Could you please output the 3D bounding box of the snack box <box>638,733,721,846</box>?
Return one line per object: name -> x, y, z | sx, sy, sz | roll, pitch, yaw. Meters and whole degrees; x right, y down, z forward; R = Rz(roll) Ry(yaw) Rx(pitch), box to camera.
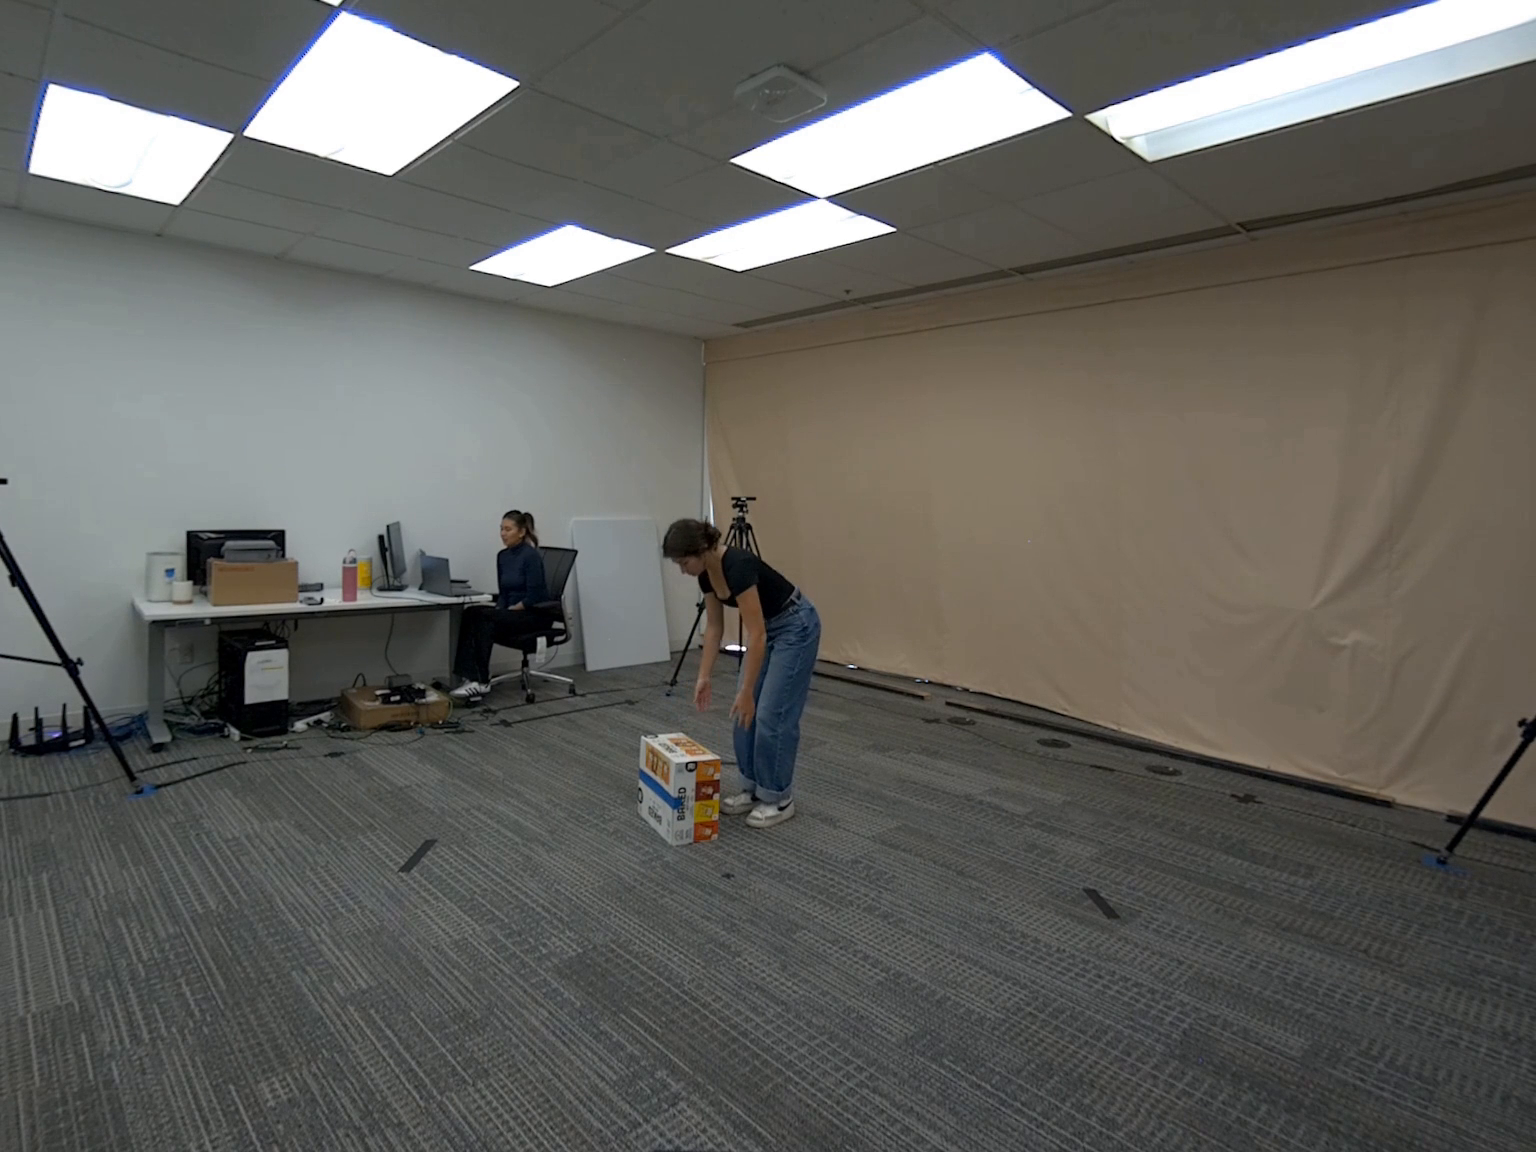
snack box -> -0.392, 0.892, 3.563 | 0.201, 0.340, 0.414 | 2, 3, -28
